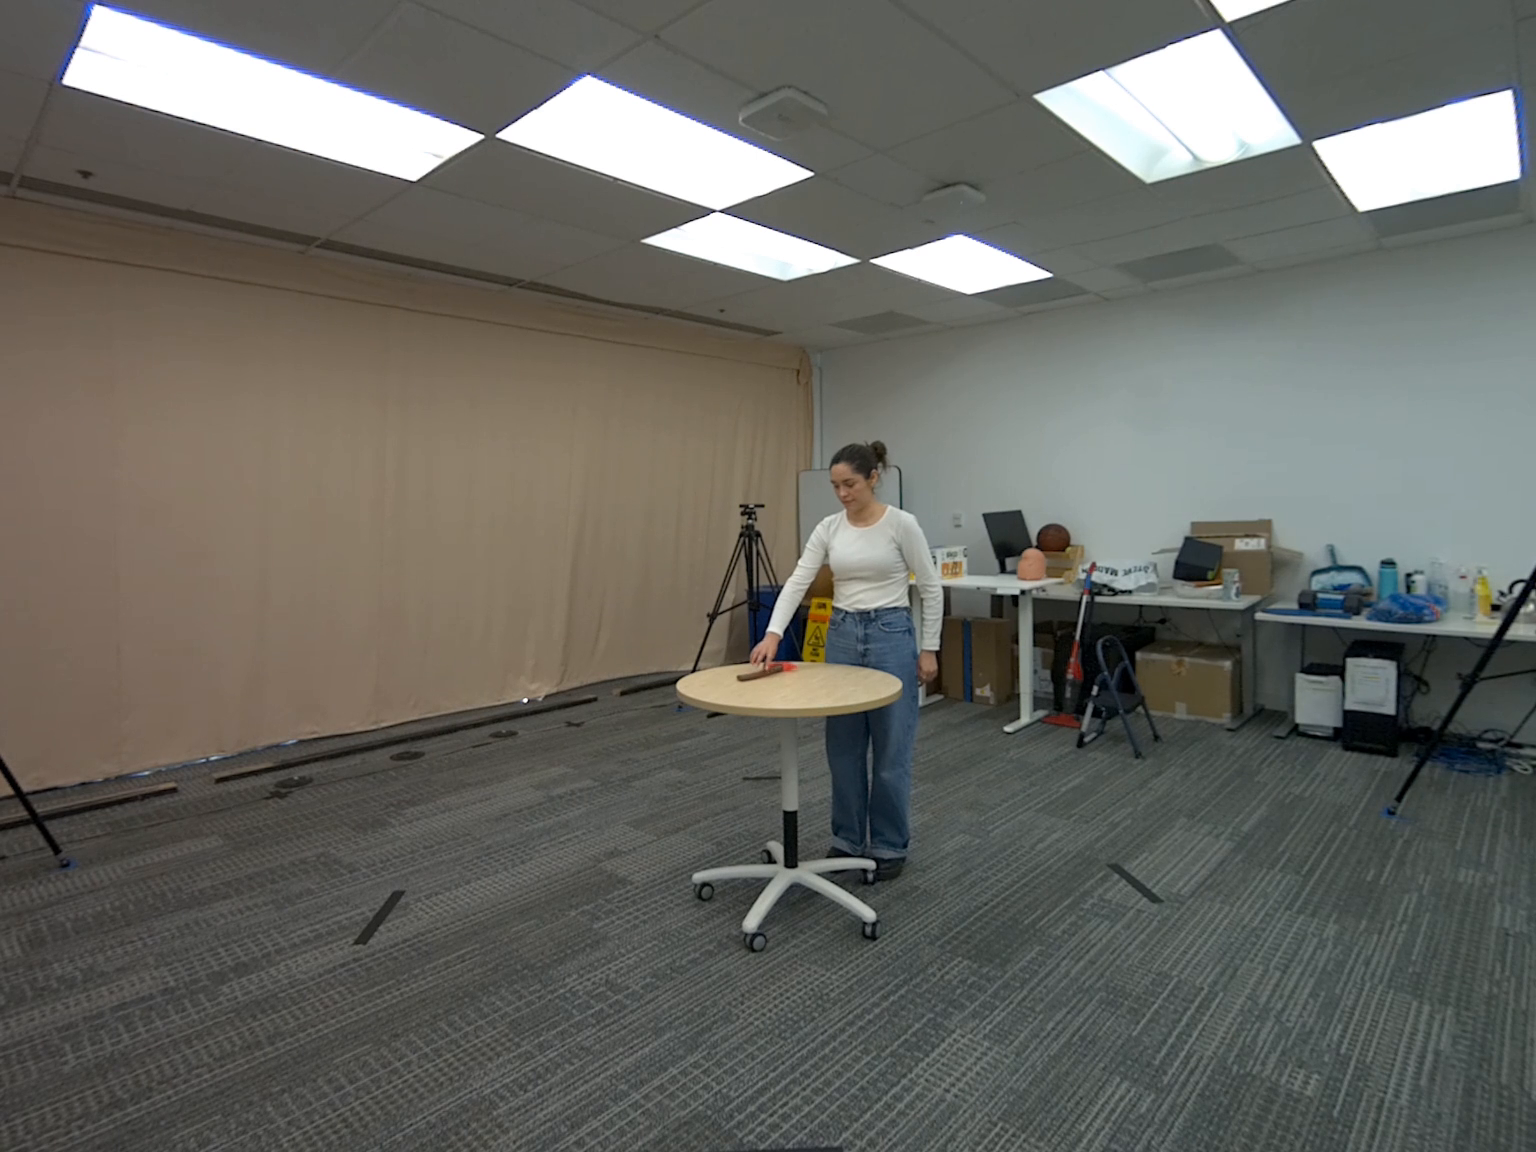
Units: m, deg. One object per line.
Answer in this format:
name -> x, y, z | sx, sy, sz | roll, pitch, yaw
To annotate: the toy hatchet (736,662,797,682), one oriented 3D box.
toy hatchet -> -0.024, 0.343, 3.026 | 0.262, 0.029, 0.135 | -6, 9, -38
